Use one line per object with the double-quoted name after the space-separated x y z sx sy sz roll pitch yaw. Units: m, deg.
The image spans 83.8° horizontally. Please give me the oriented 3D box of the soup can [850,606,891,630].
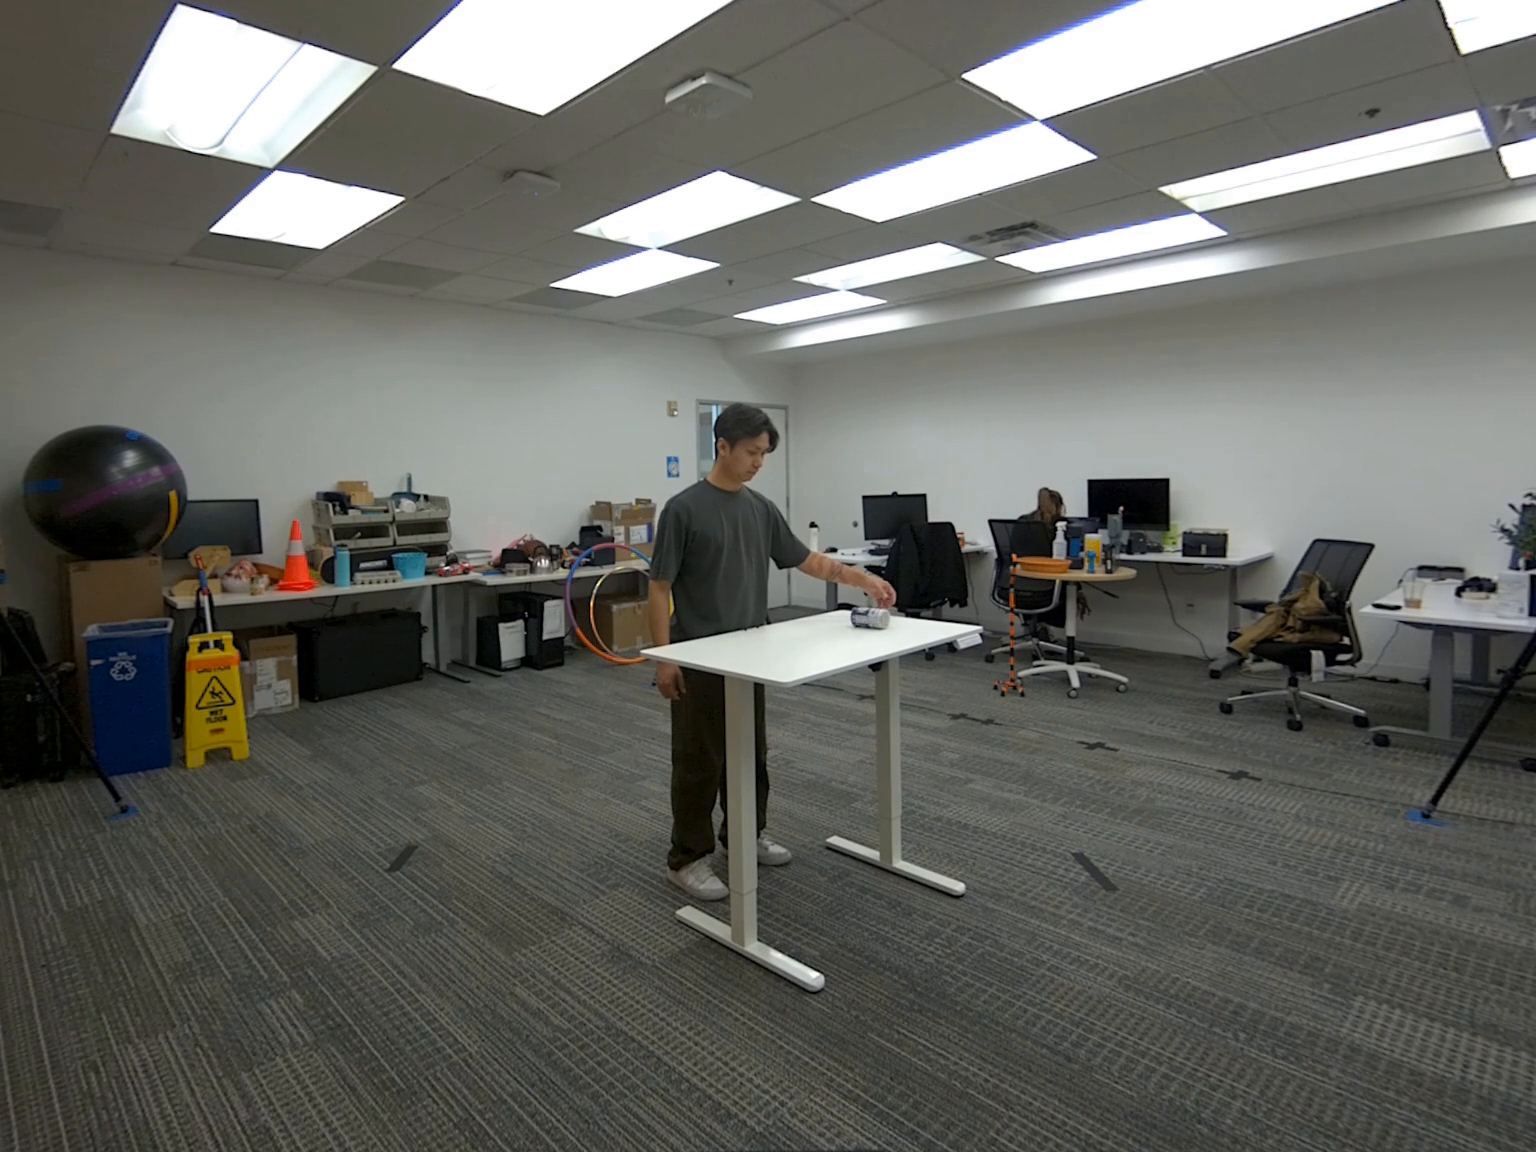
0.334 0.140 2.920 0.123 0.067 0.067 0 5 9 "soup can"
